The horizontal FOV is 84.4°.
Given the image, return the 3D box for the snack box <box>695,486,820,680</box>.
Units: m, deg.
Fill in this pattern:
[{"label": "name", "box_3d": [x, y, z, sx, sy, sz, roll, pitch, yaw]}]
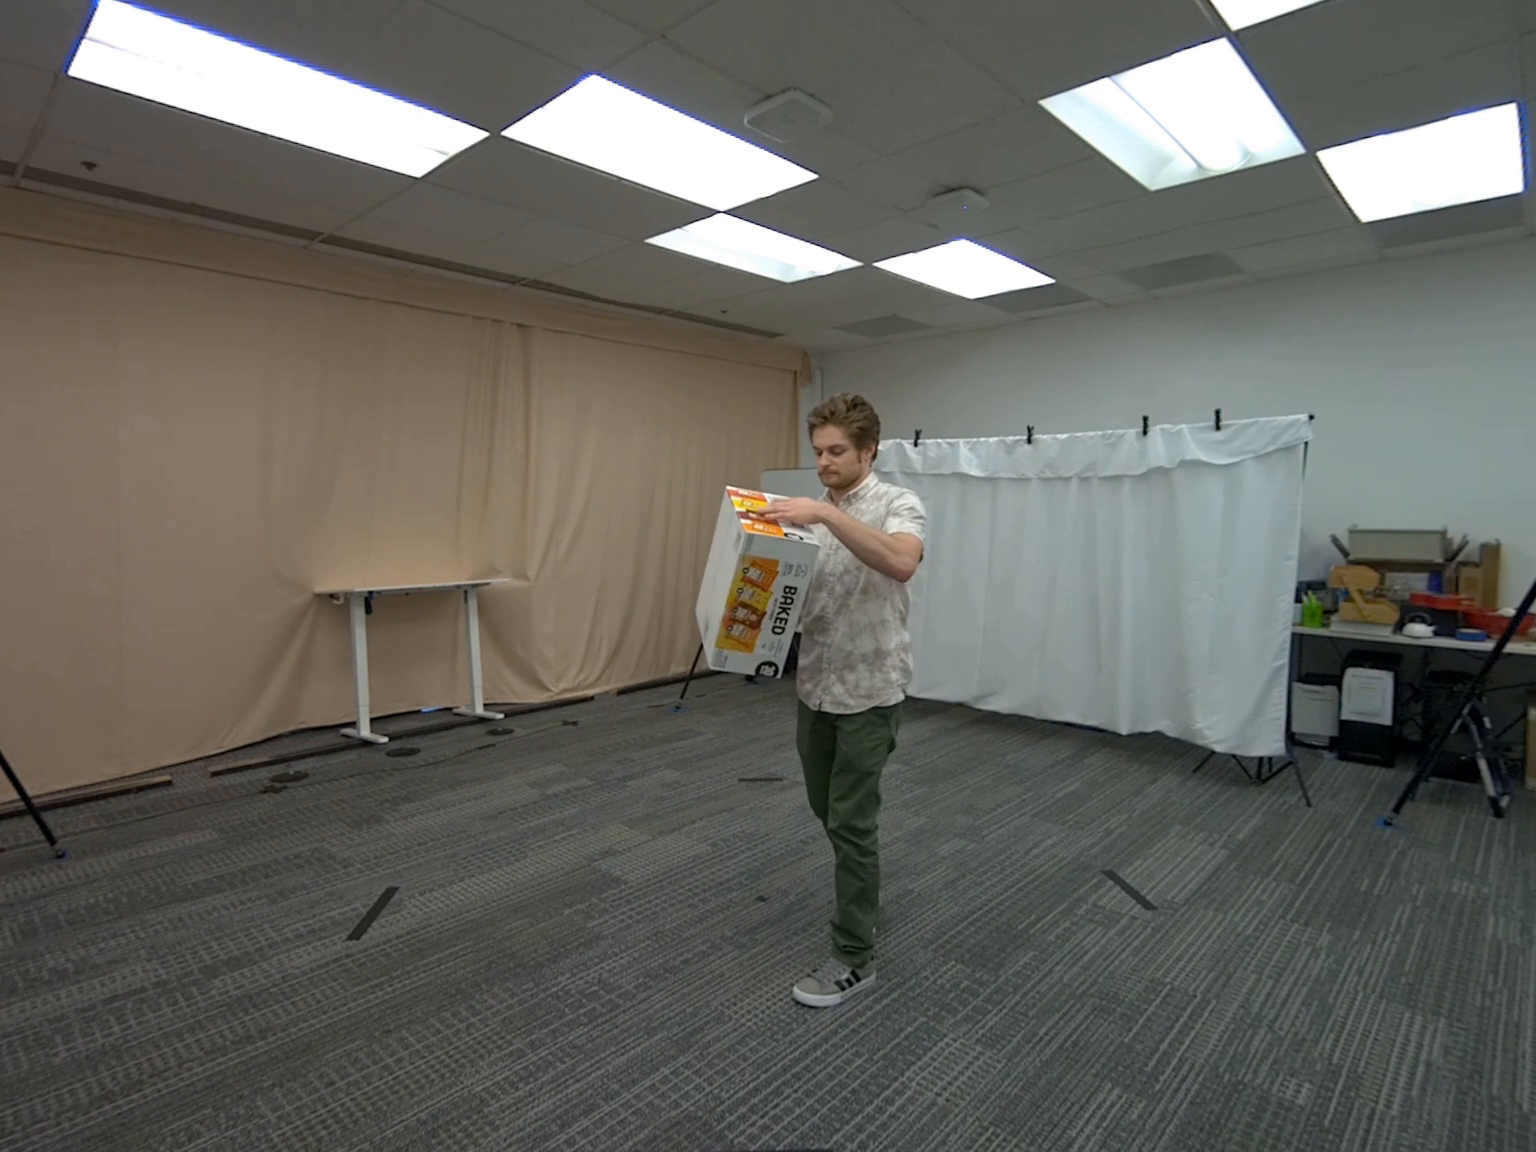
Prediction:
[{"label": "snack box", "box_3d": [-0.040, 0.012, 2.341, 0.203, 0.402, 0.348, 9, 23, -14]}]
